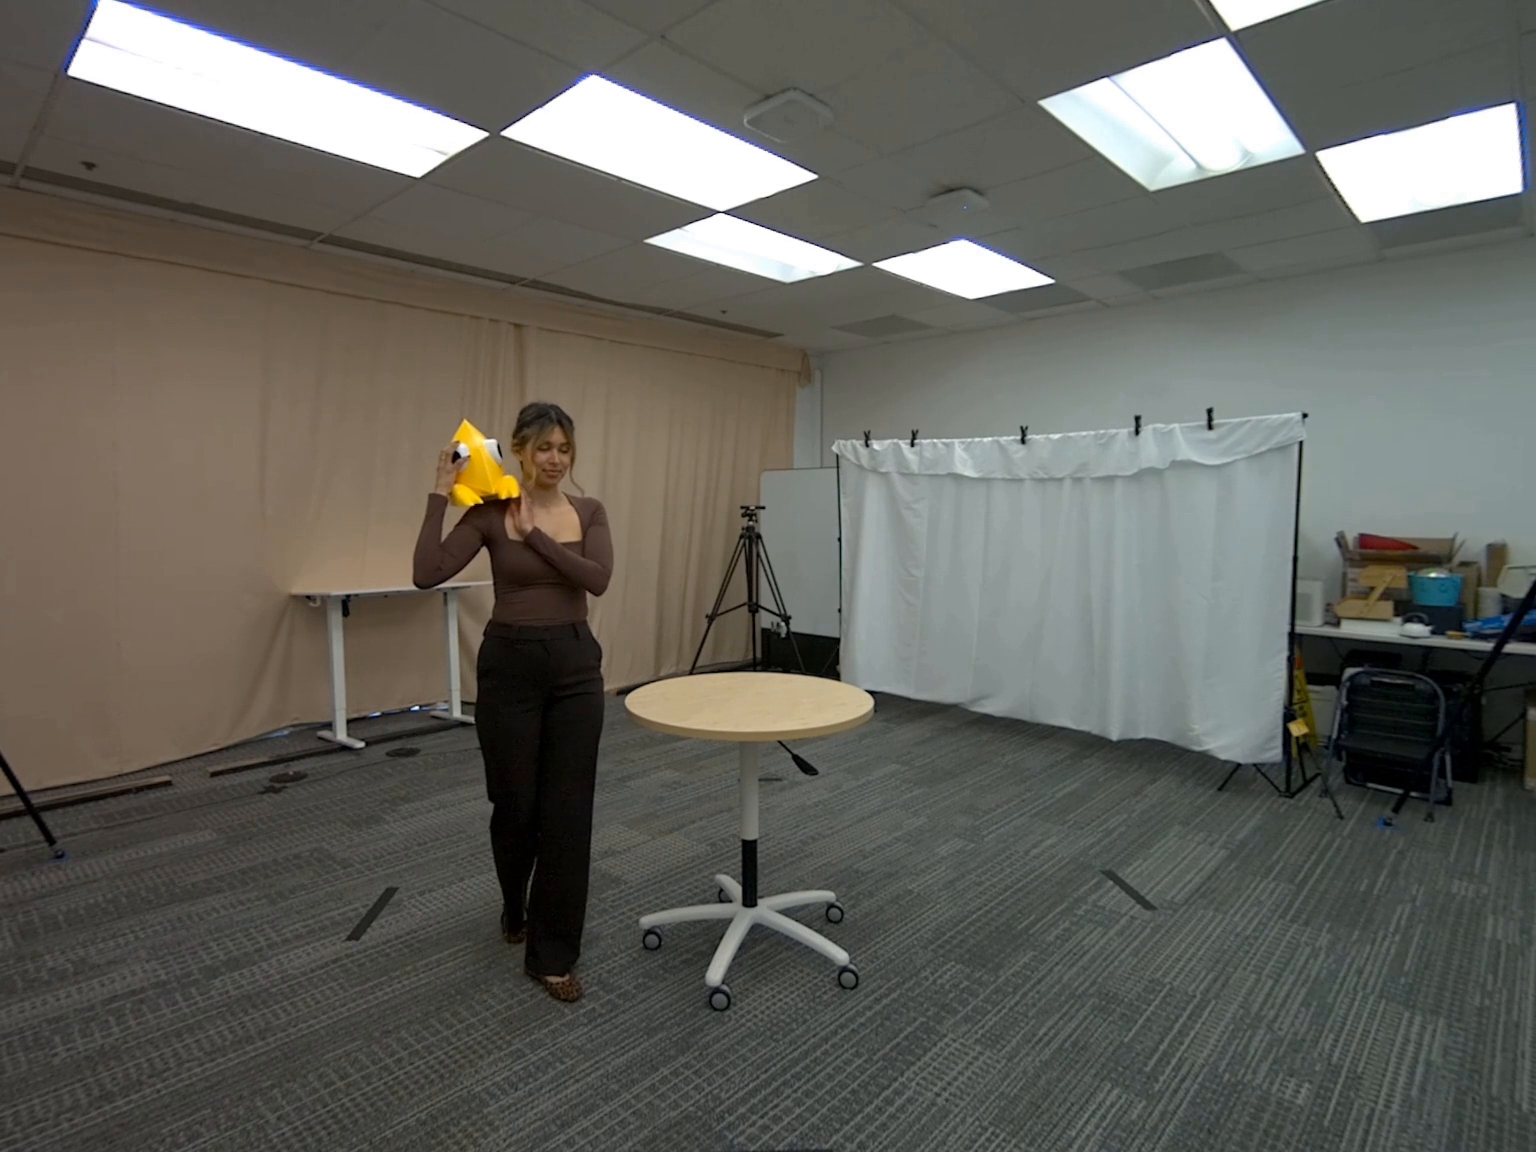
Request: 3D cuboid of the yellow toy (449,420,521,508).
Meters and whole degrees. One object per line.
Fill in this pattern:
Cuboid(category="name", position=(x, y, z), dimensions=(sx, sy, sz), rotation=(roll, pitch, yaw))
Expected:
Cuboid(category="yellow toy", position=(-0.841, -0.336, 2.435), dimensions=(0.200, 0.228, 0.200), rotation=(-15, 18, -33))
